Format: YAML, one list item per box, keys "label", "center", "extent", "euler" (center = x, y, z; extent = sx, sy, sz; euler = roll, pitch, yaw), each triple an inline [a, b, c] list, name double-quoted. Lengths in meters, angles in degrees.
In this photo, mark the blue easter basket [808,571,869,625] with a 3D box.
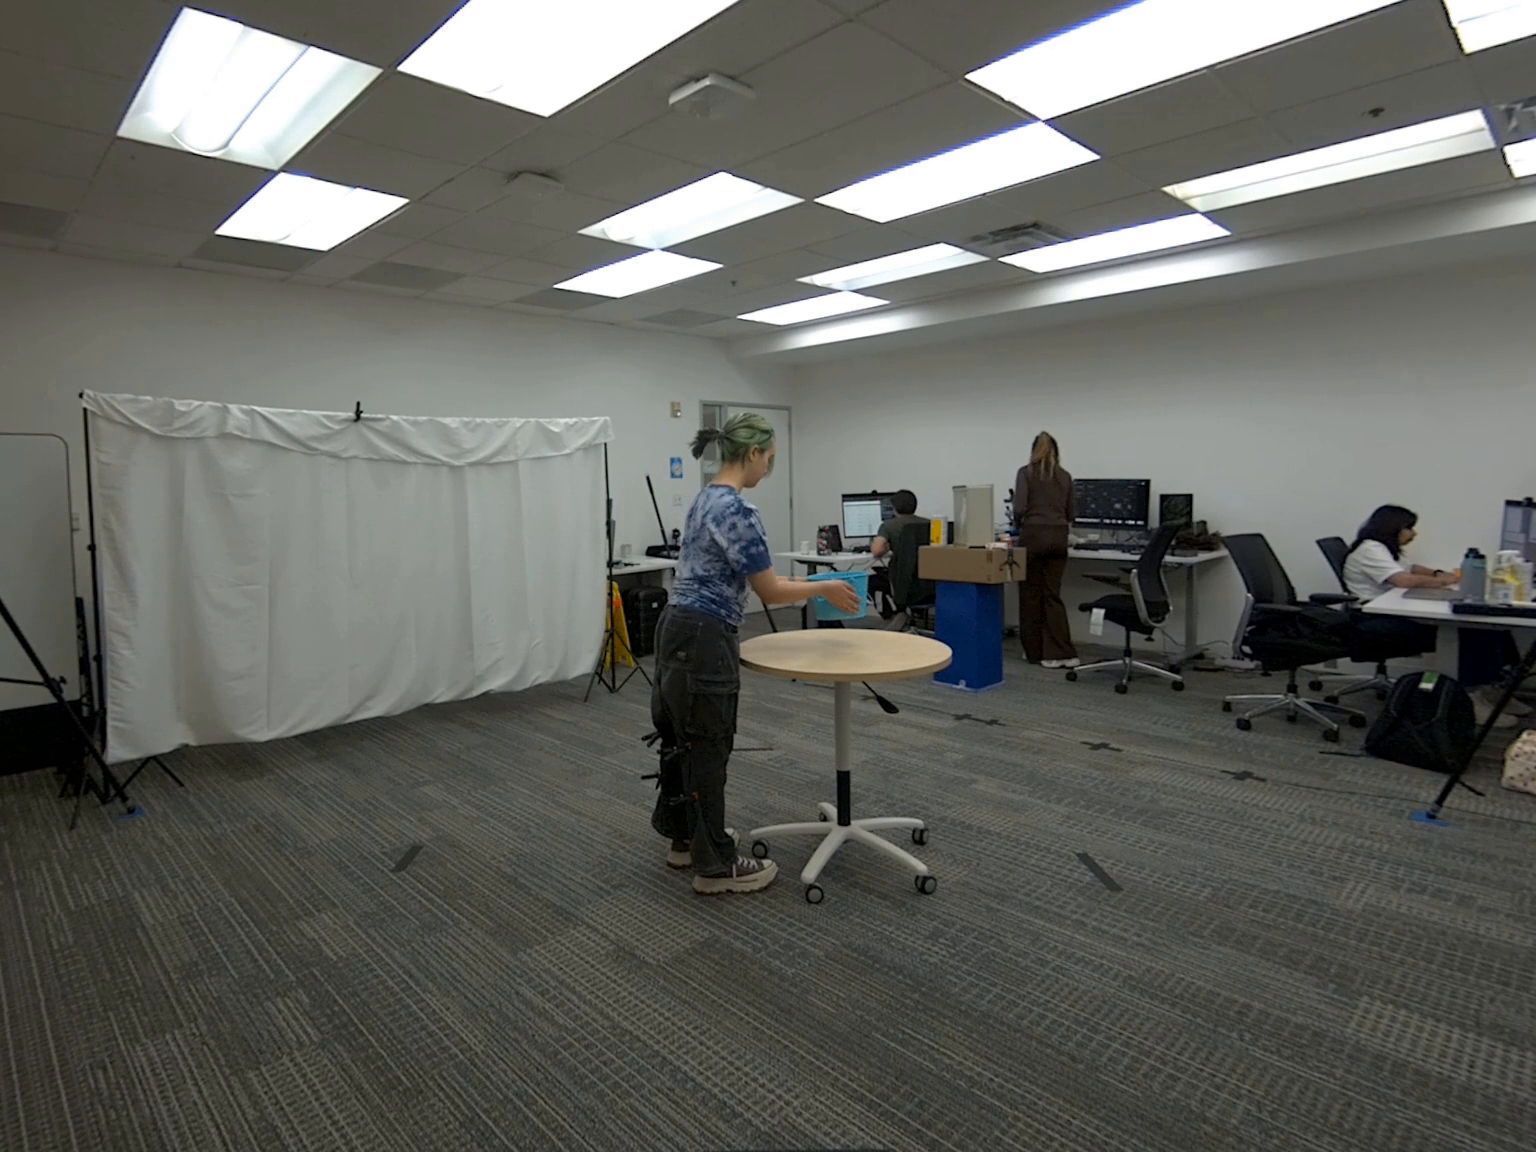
- label: "blue easter basket"
  center: [0.244, 0.076, 3.140]
  extent: [0.243, 0.155, 0.244]
  euler: [-8, 3, -1]
